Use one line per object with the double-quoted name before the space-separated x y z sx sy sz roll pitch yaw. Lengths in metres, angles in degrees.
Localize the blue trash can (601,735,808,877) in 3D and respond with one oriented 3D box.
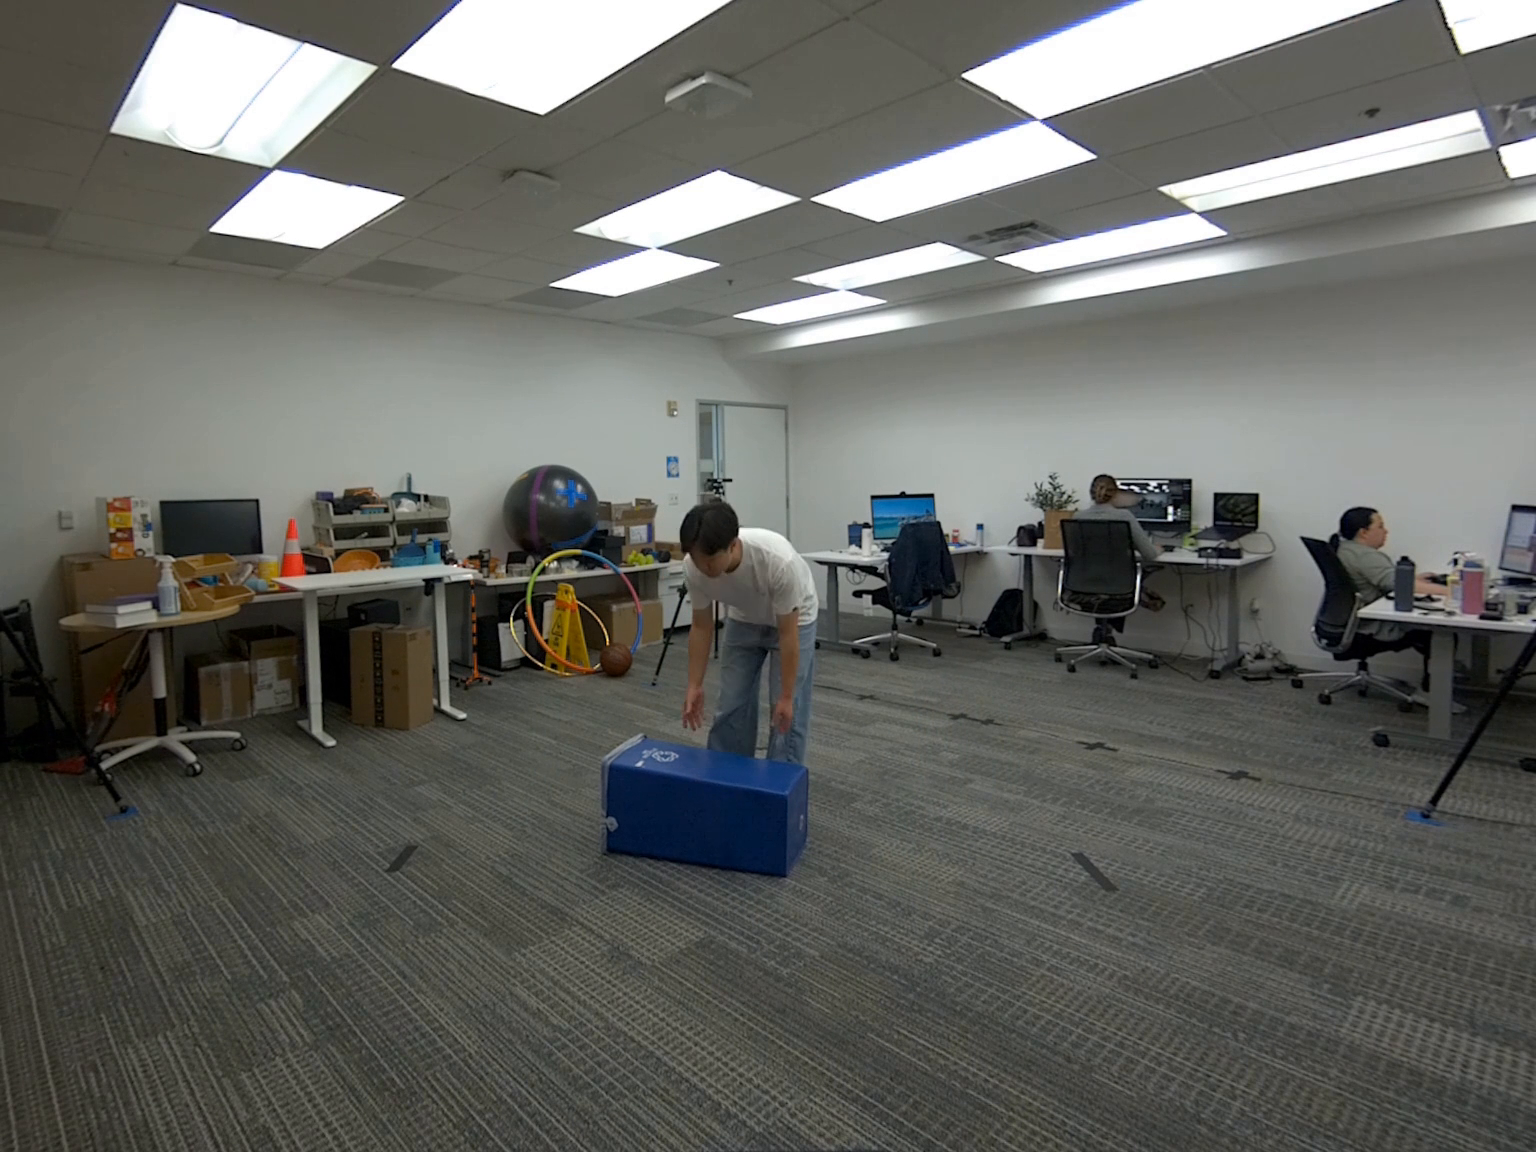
"blue trash can" -0.232 0.864 3.231 0.727 0.376 0.368 4 5 19
